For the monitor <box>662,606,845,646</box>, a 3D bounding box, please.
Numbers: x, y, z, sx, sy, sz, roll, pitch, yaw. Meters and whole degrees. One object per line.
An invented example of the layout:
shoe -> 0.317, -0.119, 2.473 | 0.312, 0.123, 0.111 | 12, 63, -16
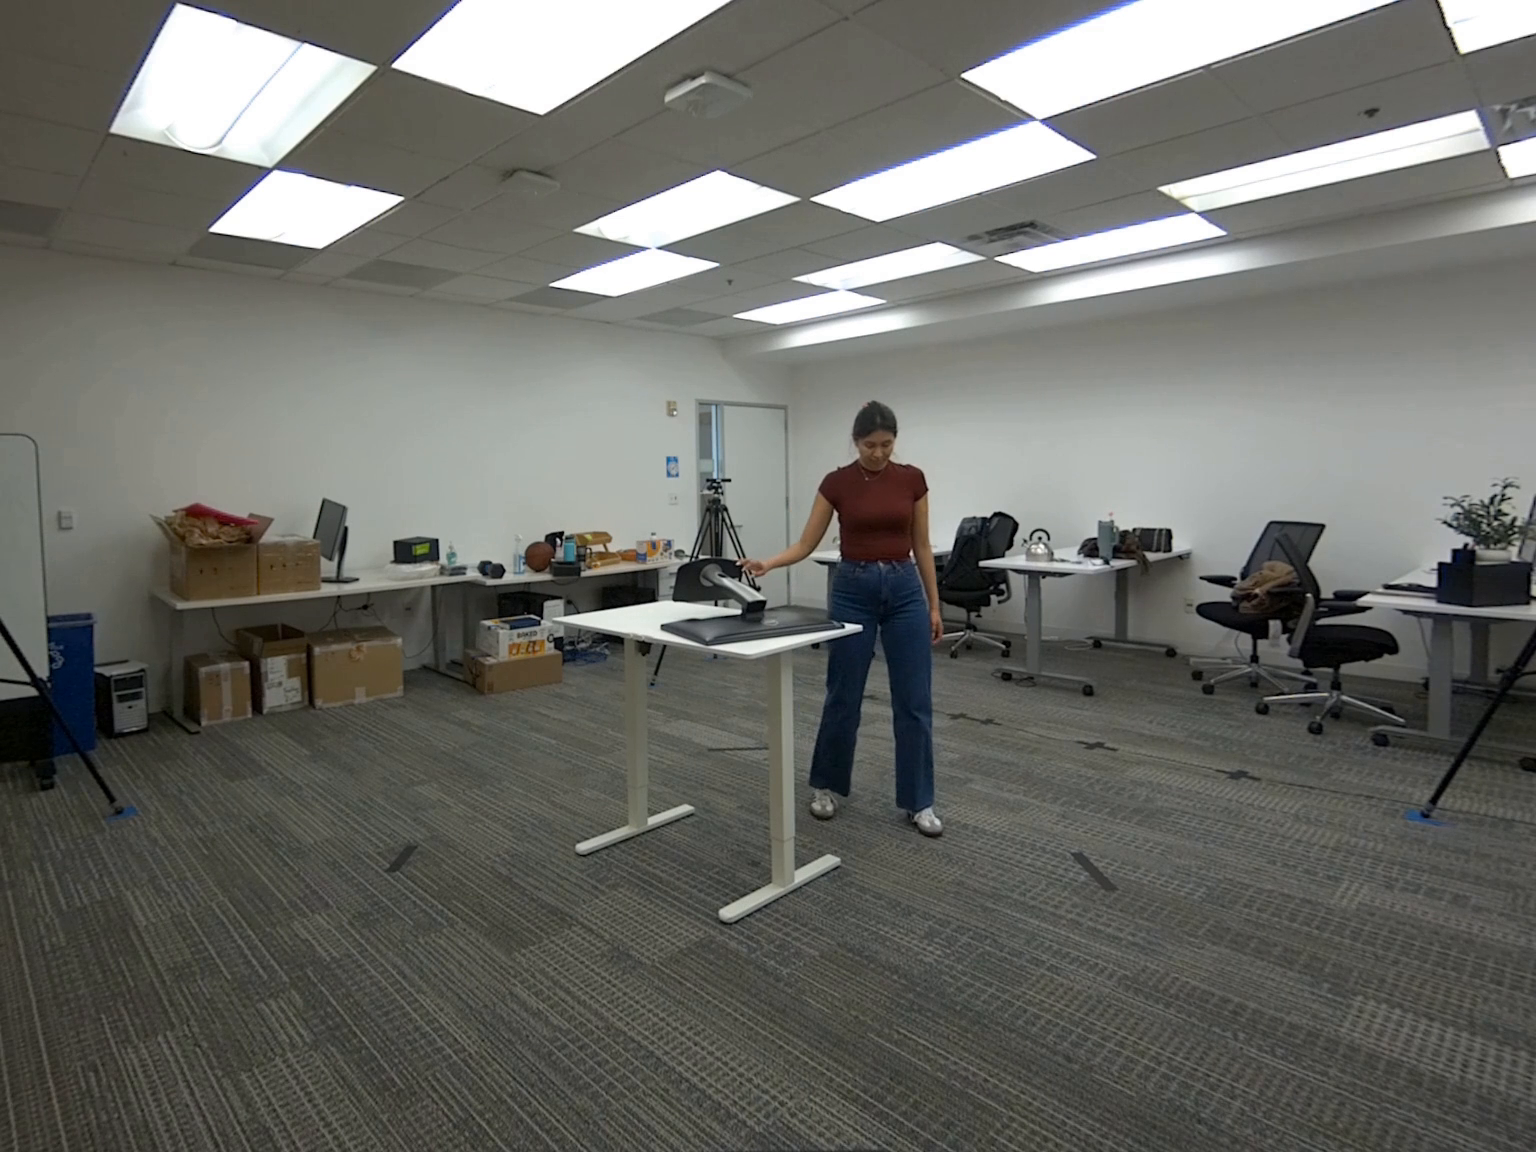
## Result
monitor -> -0.092, 0.109, 3.004 | 0.527, 0.184, 0.542 | -5, 24, -29
